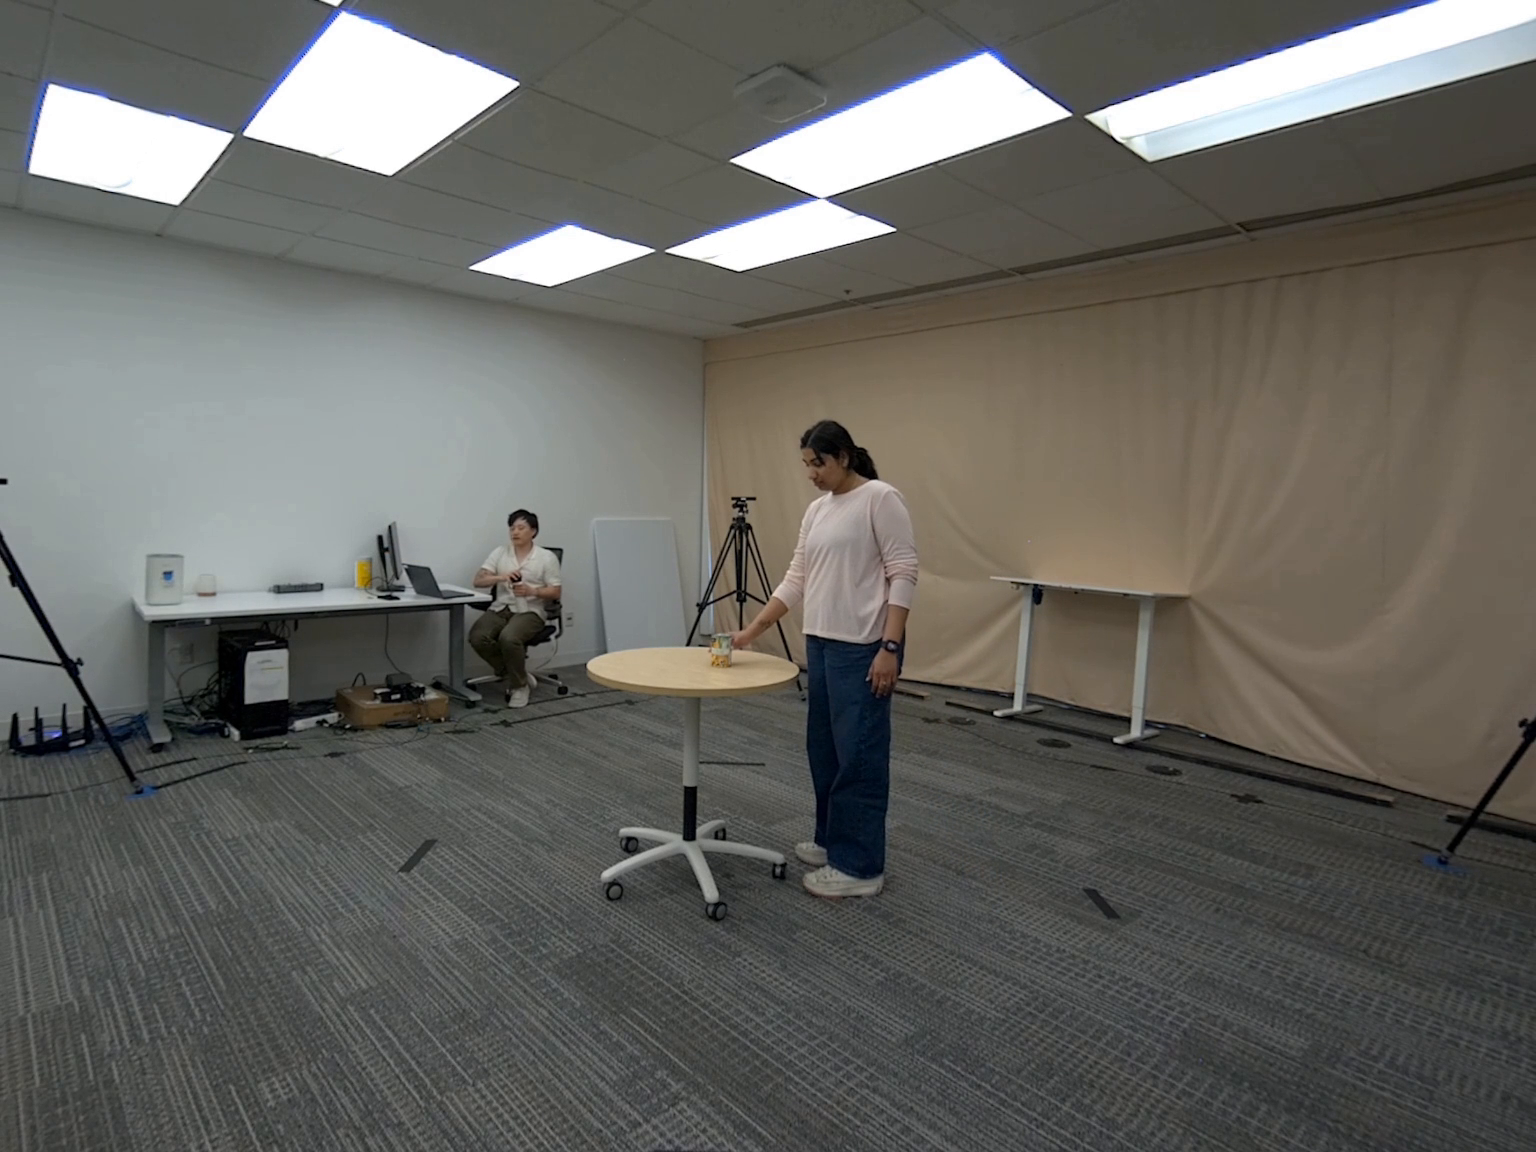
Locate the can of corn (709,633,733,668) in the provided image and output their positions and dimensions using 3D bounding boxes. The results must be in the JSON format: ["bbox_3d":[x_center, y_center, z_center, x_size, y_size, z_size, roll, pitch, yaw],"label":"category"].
[{"bbox_3d":[-0.169,0.269,3.056,0.074,0.111,0.074,4,2,-2],"label":"can of corn"}]
